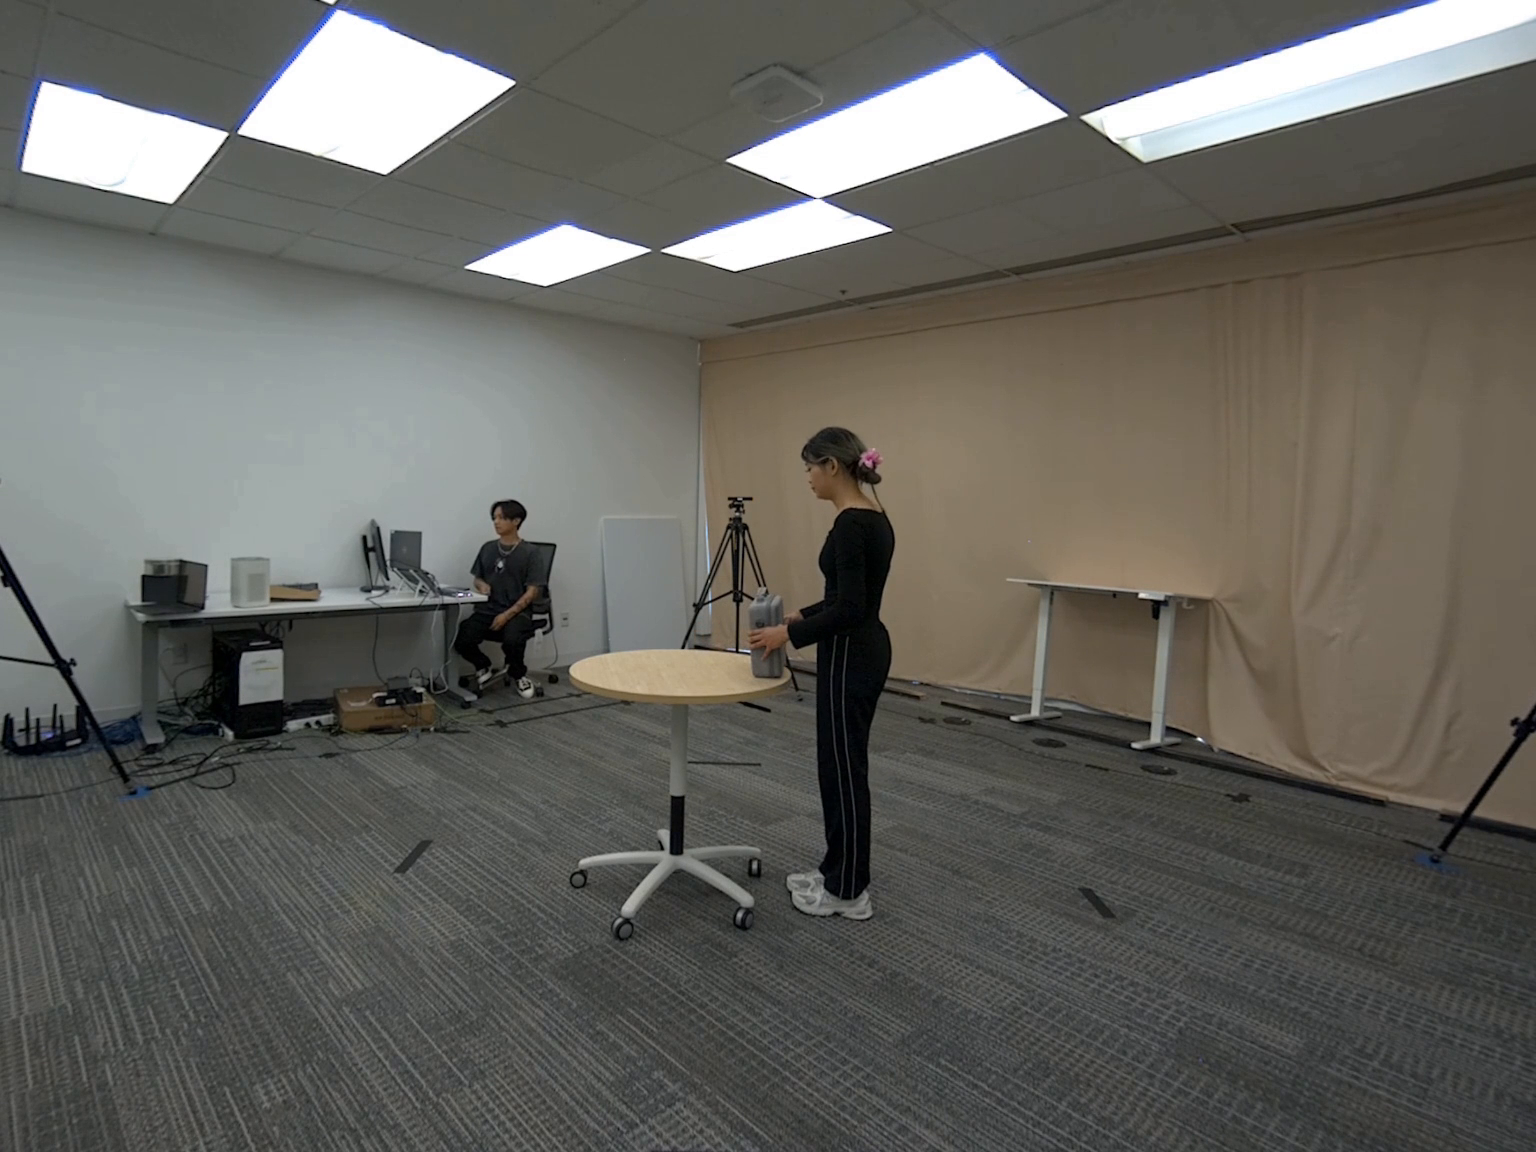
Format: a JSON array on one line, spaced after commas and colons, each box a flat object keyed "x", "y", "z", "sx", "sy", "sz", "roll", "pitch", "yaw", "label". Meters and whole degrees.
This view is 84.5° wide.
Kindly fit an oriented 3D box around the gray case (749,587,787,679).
[{"x": -0.011, "y": 0.200, "z": 2.931, "sx": 0.105, "sy": 0.259, "sz": 0.256, "roll": -5, "pitch": 5, "yaw": 6, "label": "gray case"}]
